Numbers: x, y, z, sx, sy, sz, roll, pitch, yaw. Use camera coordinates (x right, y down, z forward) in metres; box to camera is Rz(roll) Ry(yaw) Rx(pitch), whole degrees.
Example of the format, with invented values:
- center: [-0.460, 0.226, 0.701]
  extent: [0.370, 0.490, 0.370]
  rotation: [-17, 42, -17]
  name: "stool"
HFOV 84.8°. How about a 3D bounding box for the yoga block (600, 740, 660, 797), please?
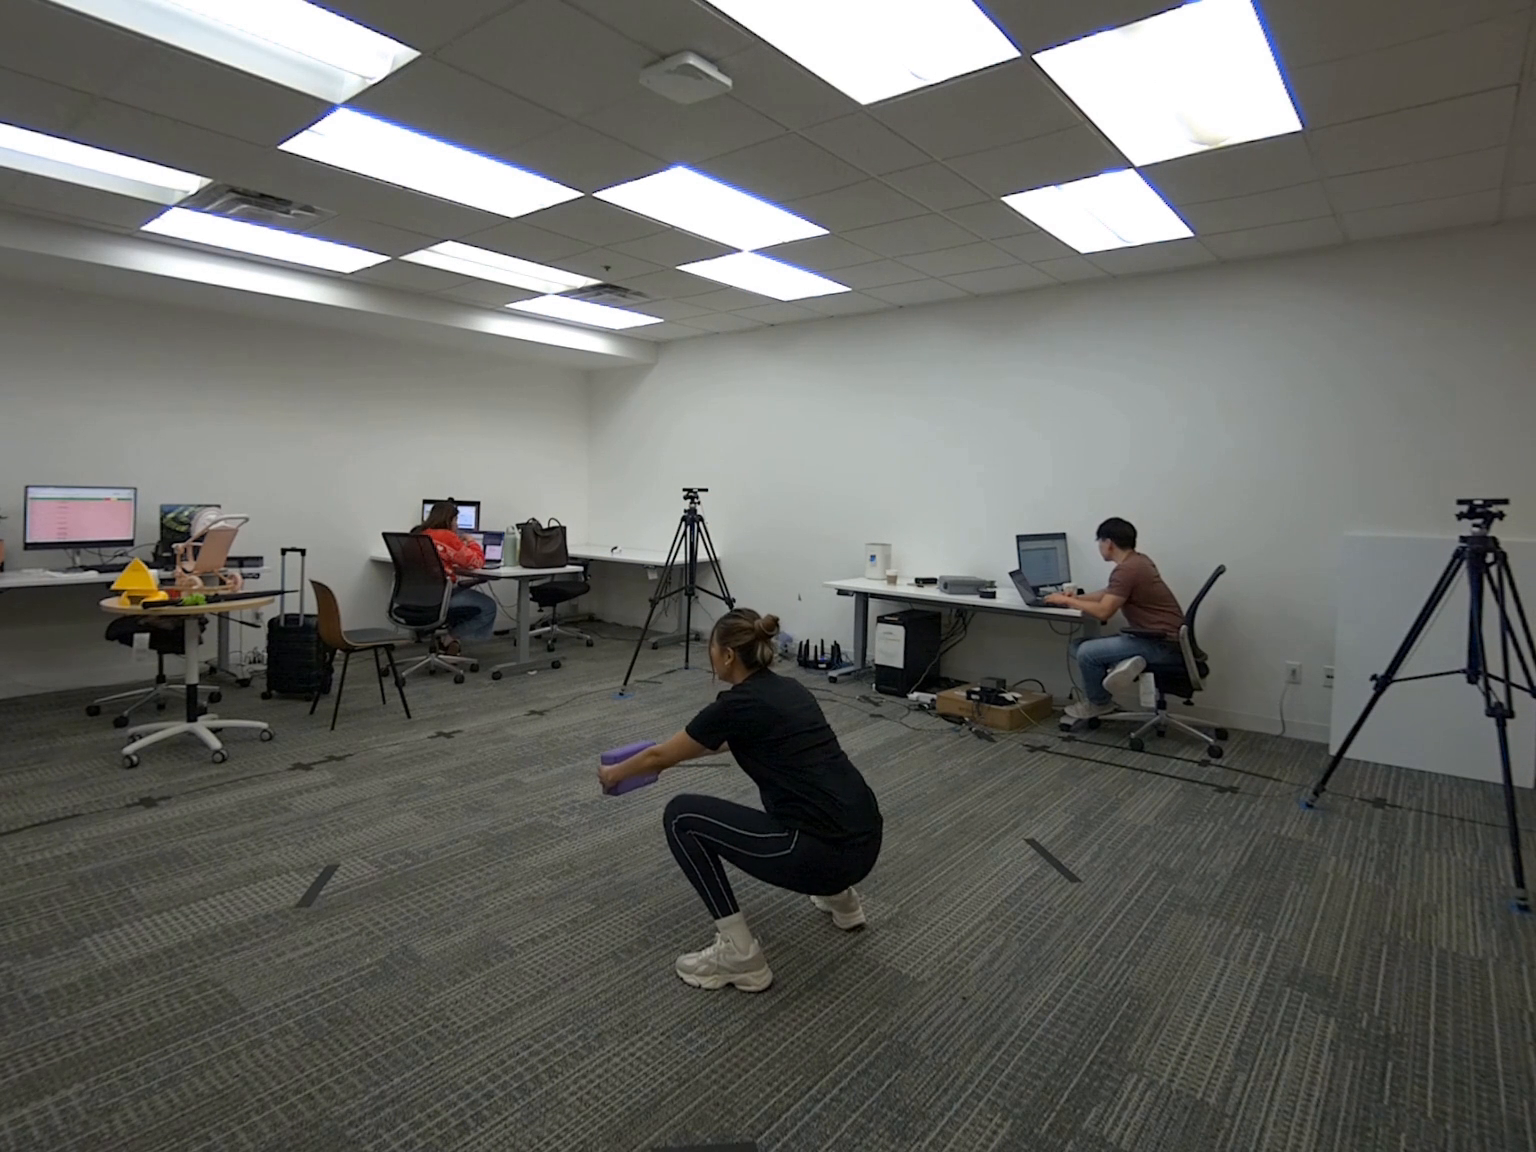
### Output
- center: [-0.507, 0.679, 3.049]
  extent: [0.078, 0.149, 0.223]
  rotation: [-3, 0, 32]
  name: "yoga block"
